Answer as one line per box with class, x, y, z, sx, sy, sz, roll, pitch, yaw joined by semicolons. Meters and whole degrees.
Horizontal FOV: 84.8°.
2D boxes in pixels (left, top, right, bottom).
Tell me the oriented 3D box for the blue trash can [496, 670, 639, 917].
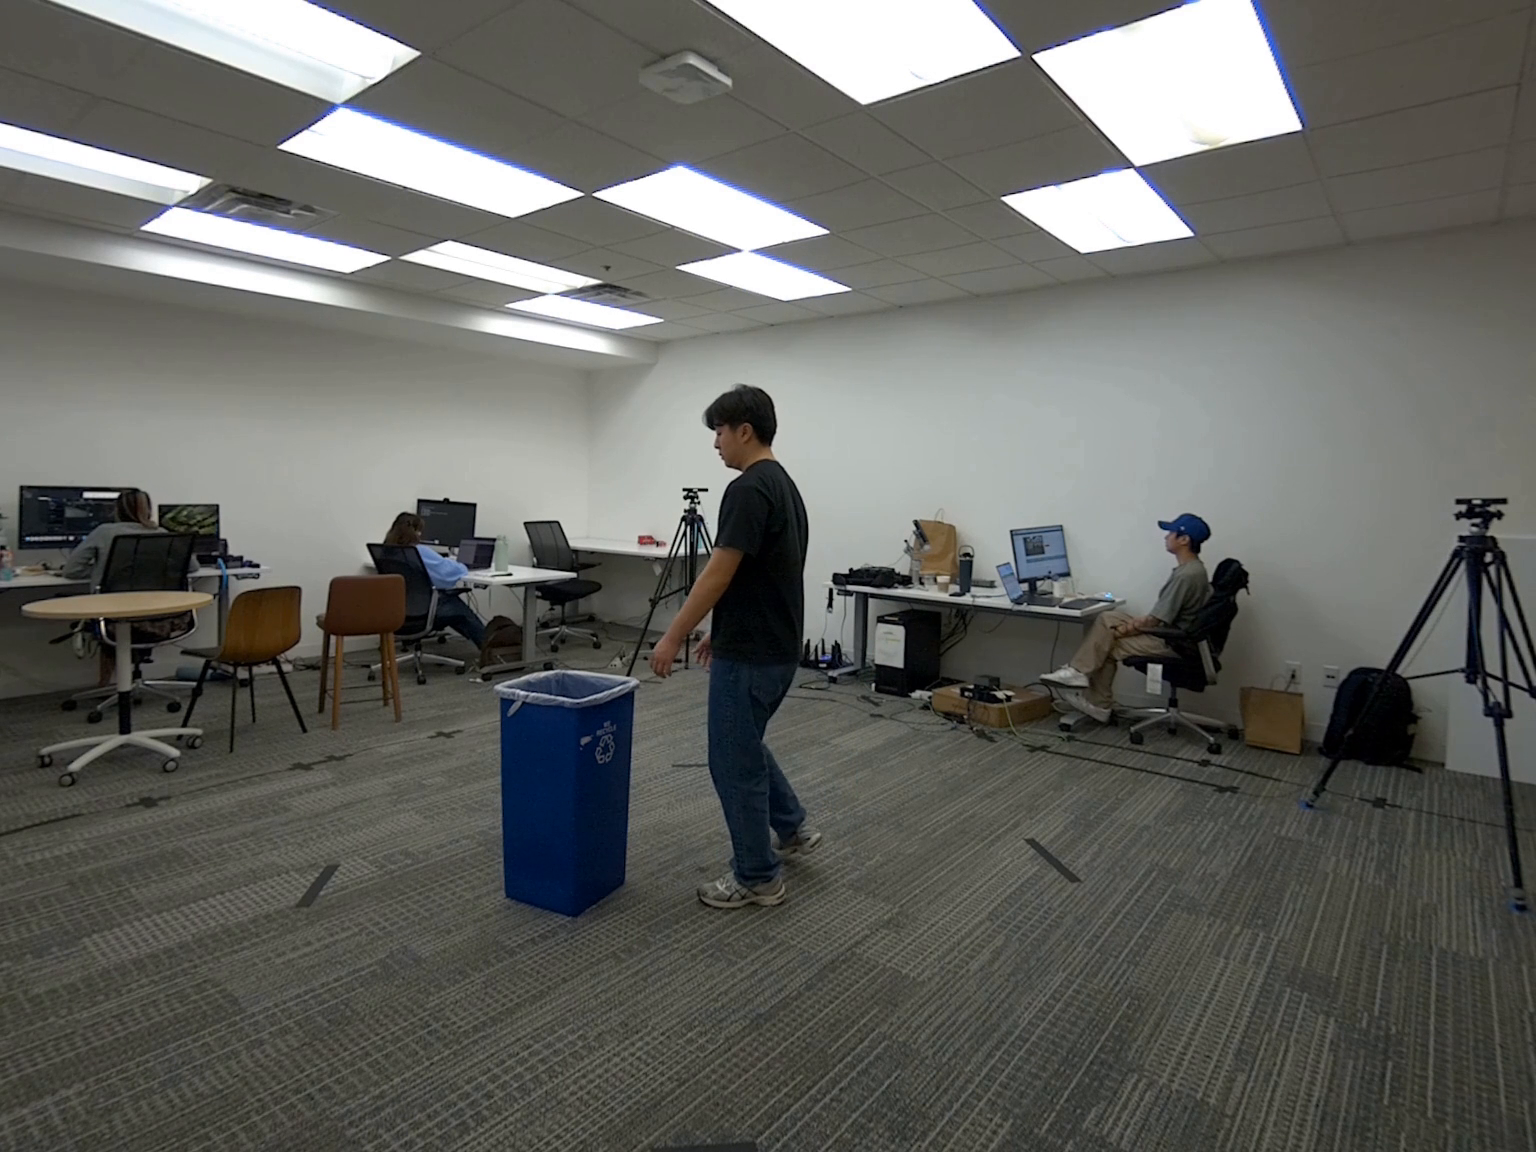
blue trash can;-0.703;0.721;2.930;0.388;0.711;0.366;3;4;25
